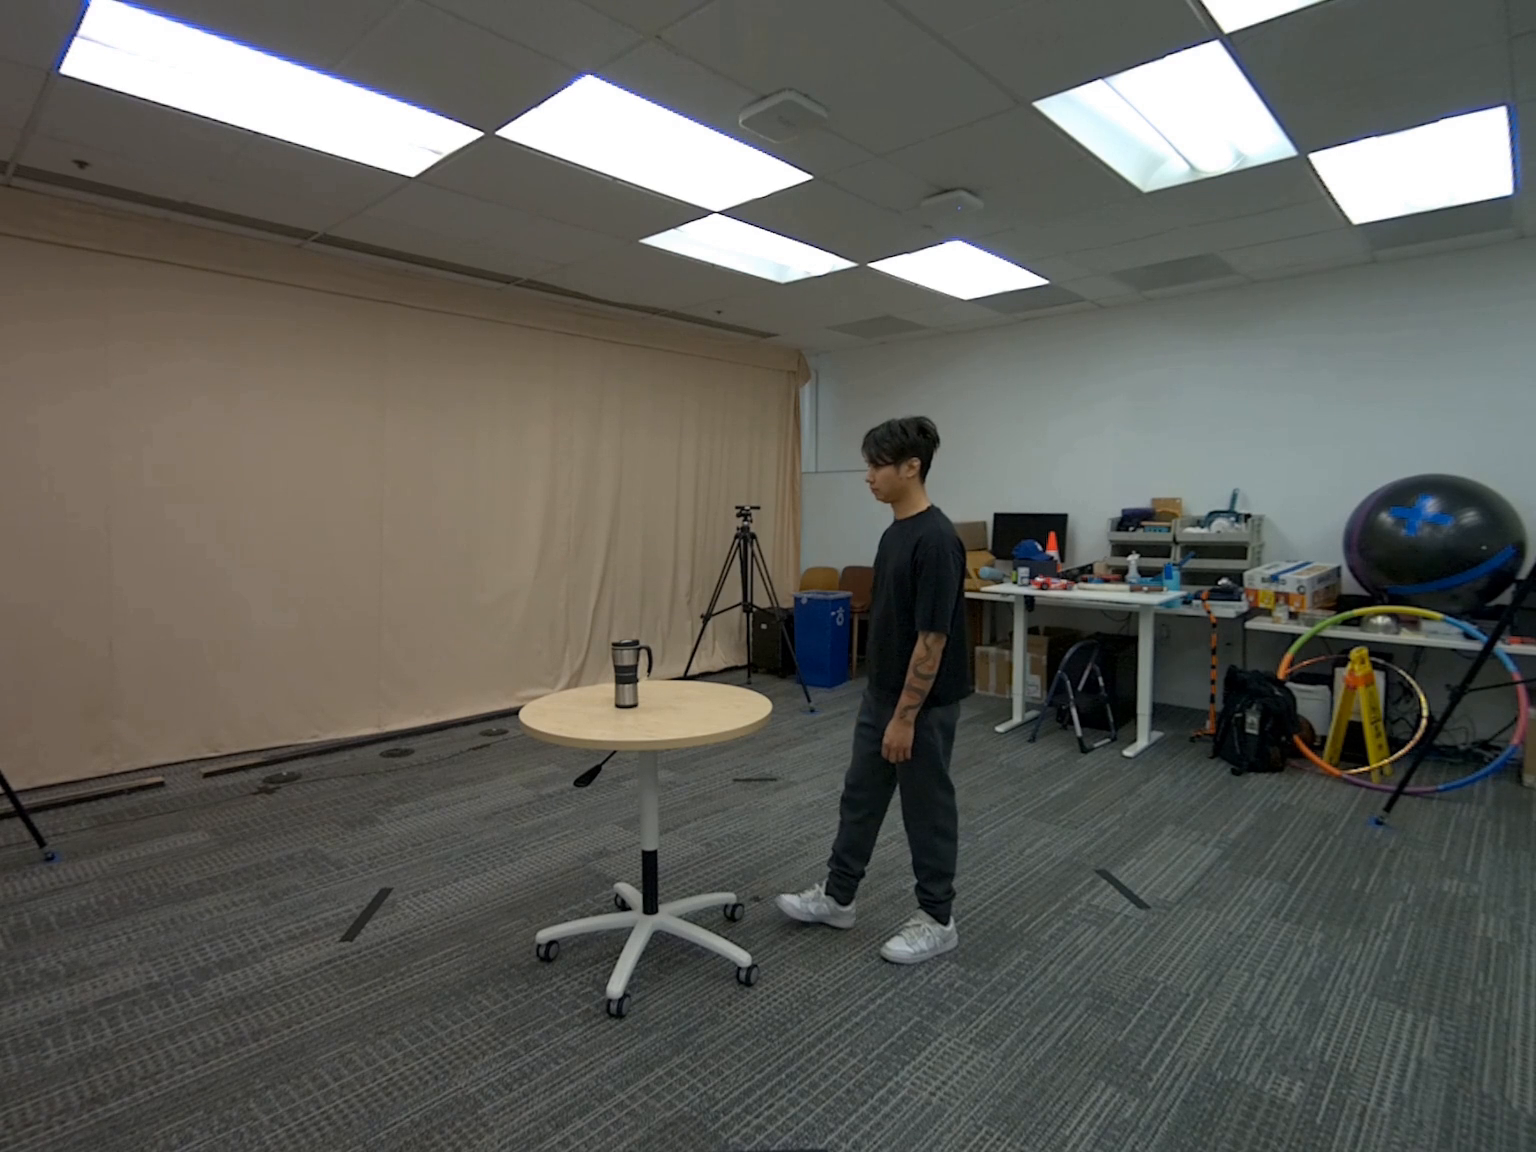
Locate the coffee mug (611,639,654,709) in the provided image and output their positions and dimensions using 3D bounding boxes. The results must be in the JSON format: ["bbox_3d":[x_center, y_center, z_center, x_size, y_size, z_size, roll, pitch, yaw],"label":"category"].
[{"bbox_3d":[-0.416,0.302,2.560,0.126,0.203,0.085,-2,-2,37],"label":"coffee mug"}]
